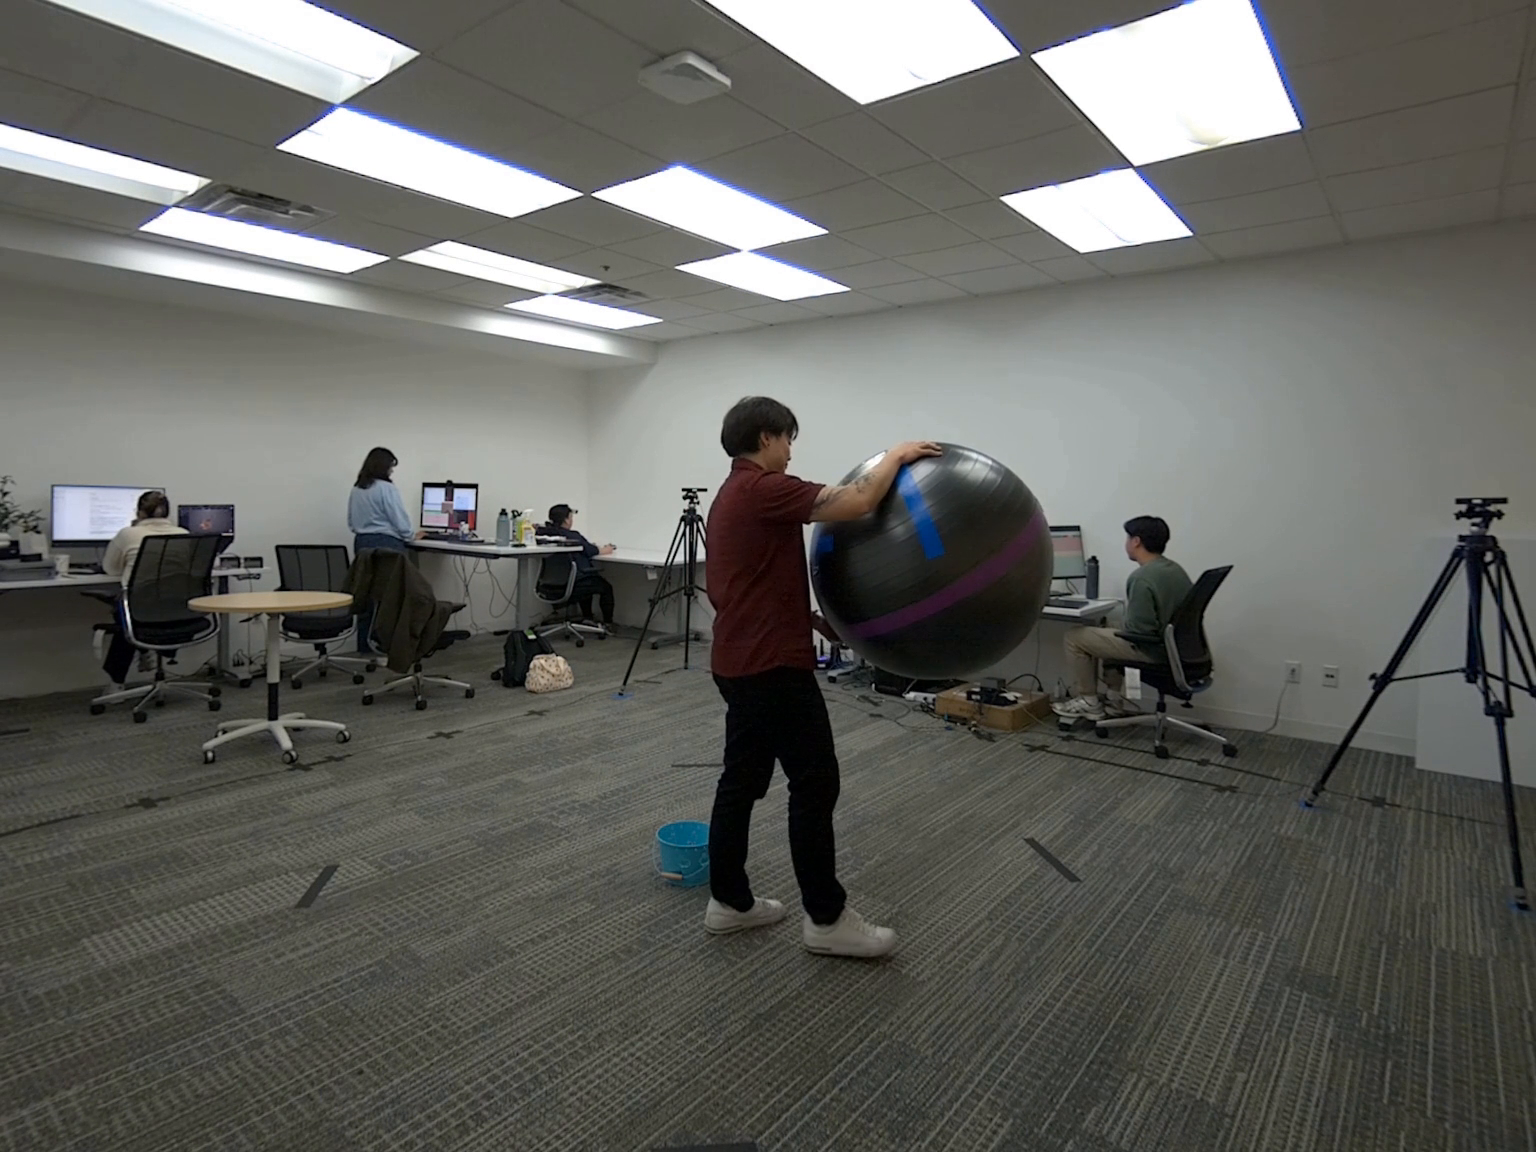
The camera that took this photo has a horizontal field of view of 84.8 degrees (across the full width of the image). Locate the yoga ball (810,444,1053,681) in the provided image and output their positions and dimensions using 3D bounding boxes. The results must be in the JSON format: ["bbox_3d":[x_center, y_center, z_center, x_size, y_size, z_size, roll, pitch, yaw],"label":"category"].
[{"bbox_3d":[0.522,-0.047,2.731,0.757,0.756,0.761,1,4,-2],"label":"yoga ball"}]
